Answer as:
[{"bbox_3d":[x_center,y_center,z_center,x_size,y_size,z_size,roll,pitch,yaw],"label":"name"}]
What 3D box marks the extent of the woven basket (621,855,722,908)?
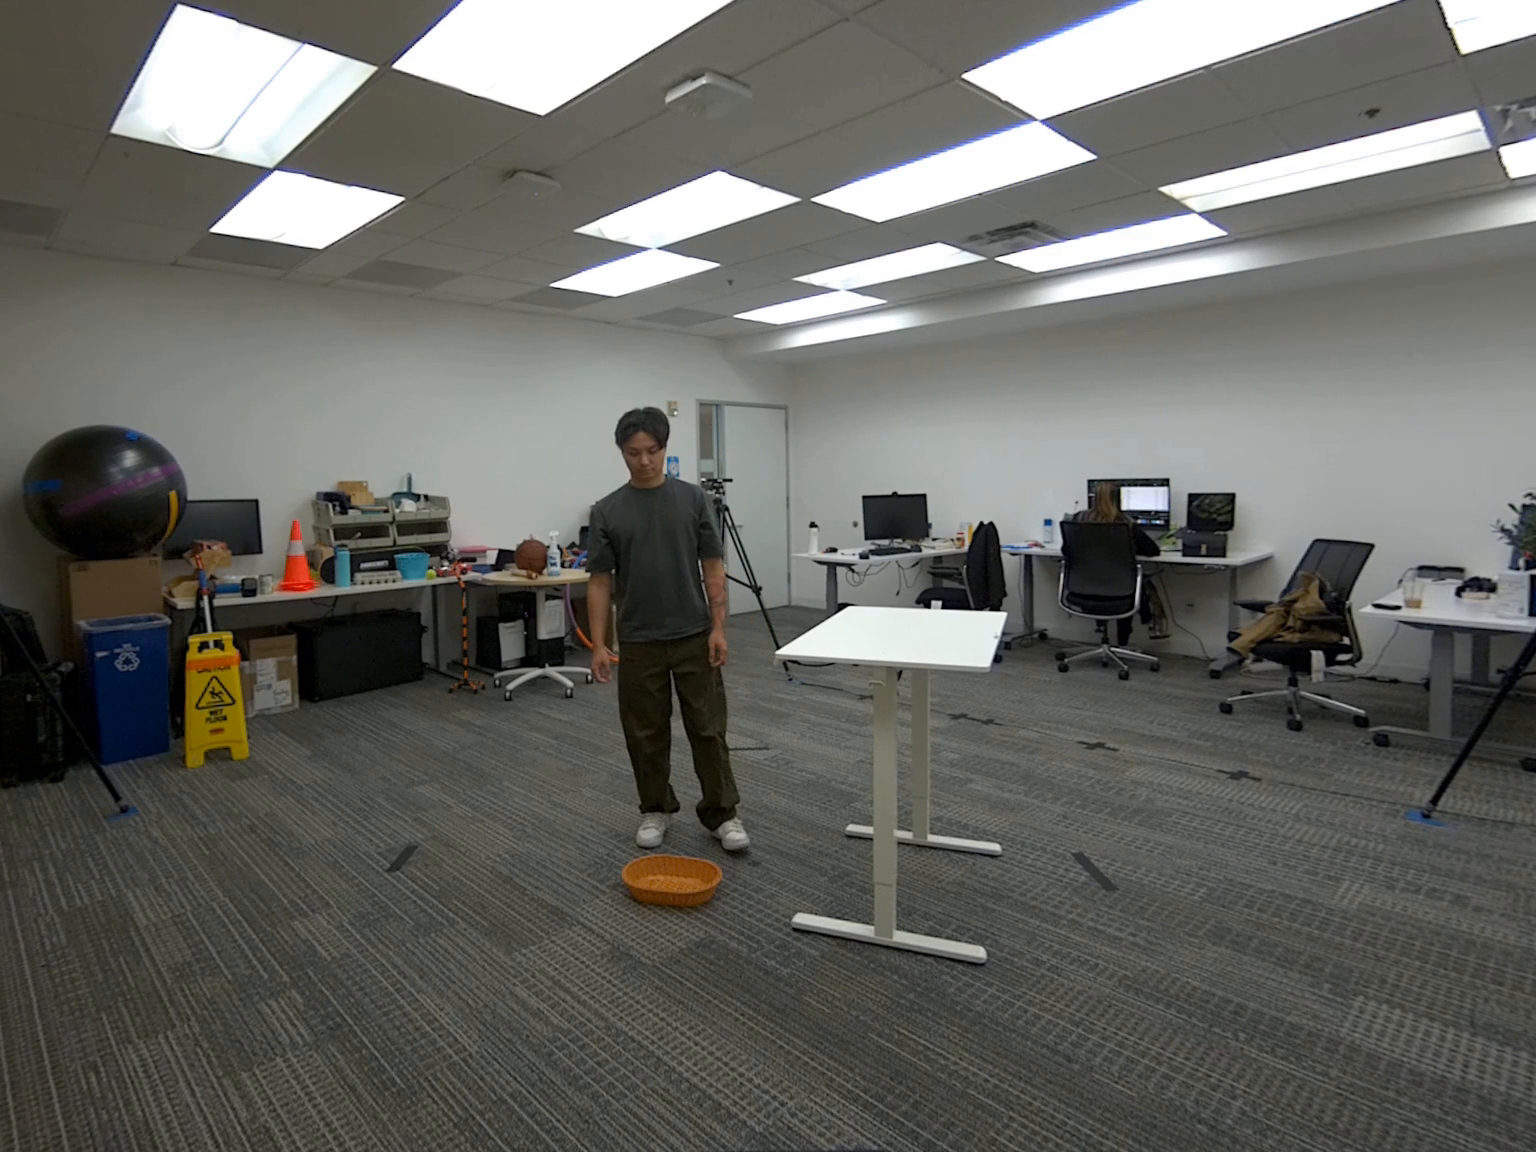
[{"bbox_3d":[-0.325,1.039,2.894,0.357,0.073,0.249,1,7,18],"label":"woven basket"}]
